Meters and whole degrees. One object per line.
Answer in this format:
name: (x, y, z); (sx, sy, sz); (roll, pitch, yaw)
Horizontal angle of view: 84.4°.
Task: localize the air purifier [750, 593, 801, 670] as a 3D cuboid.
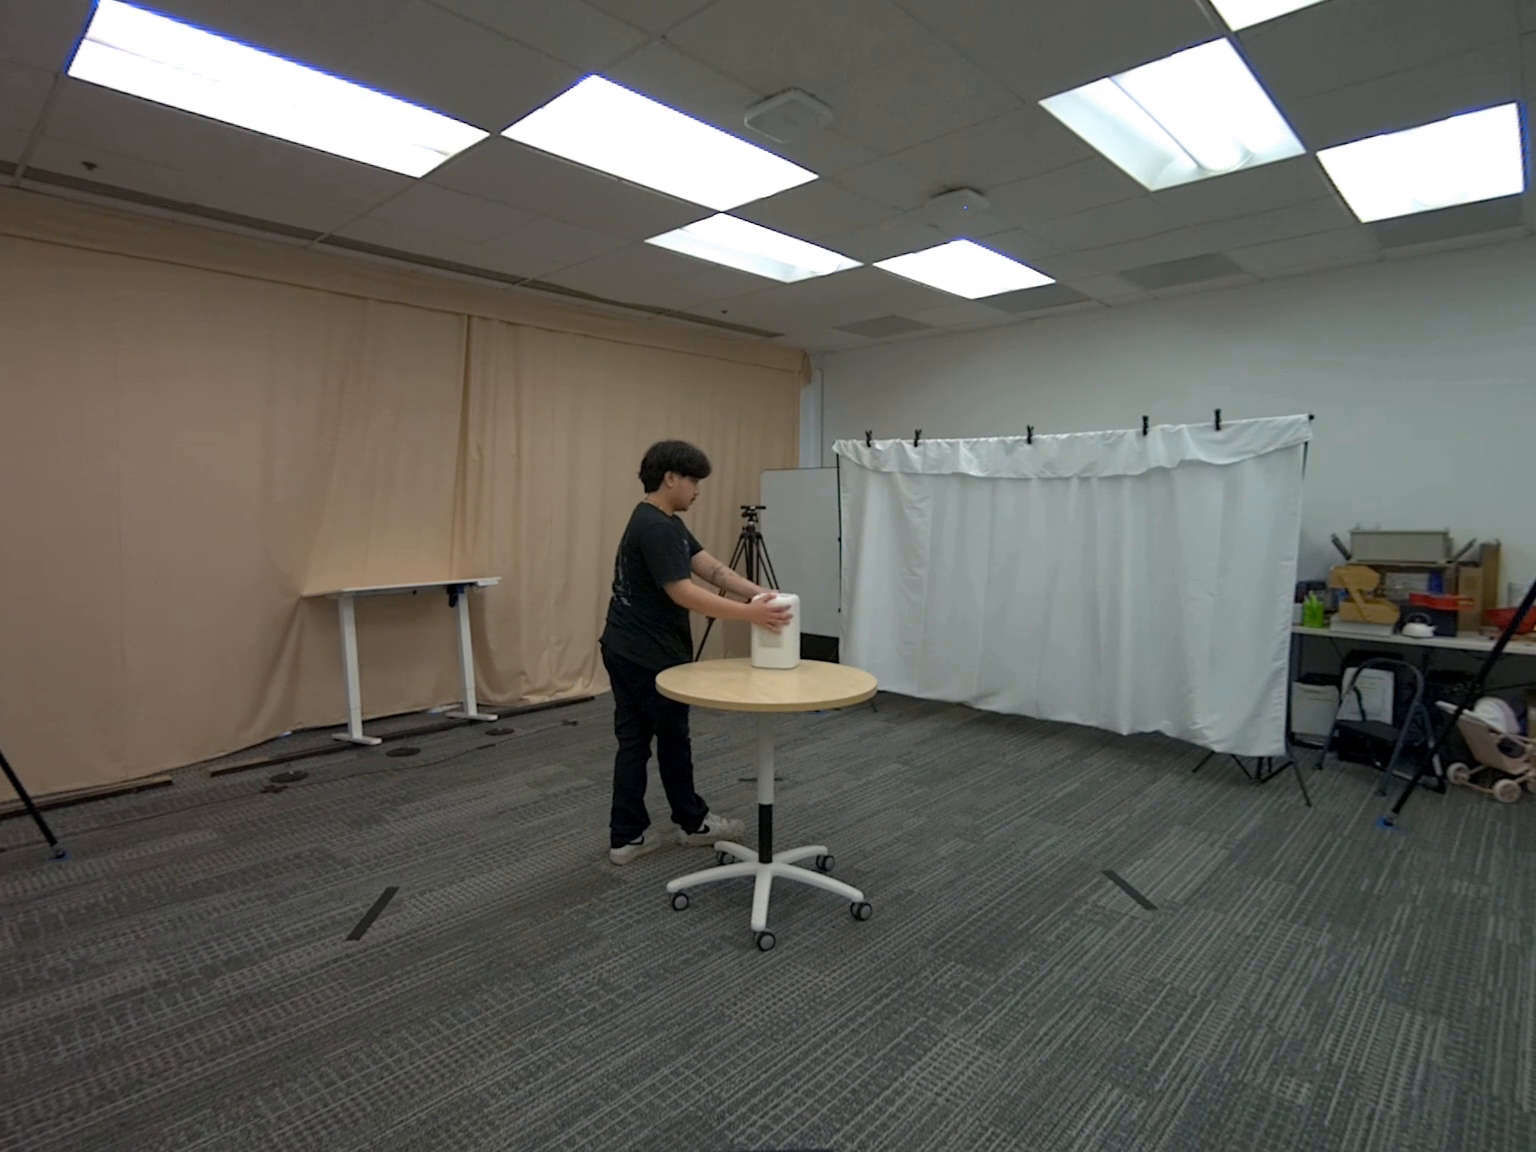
air purifier: (0.036, 0.207, 3.161); (0.174, 0.265, 0.169); (3, 3, 12)
